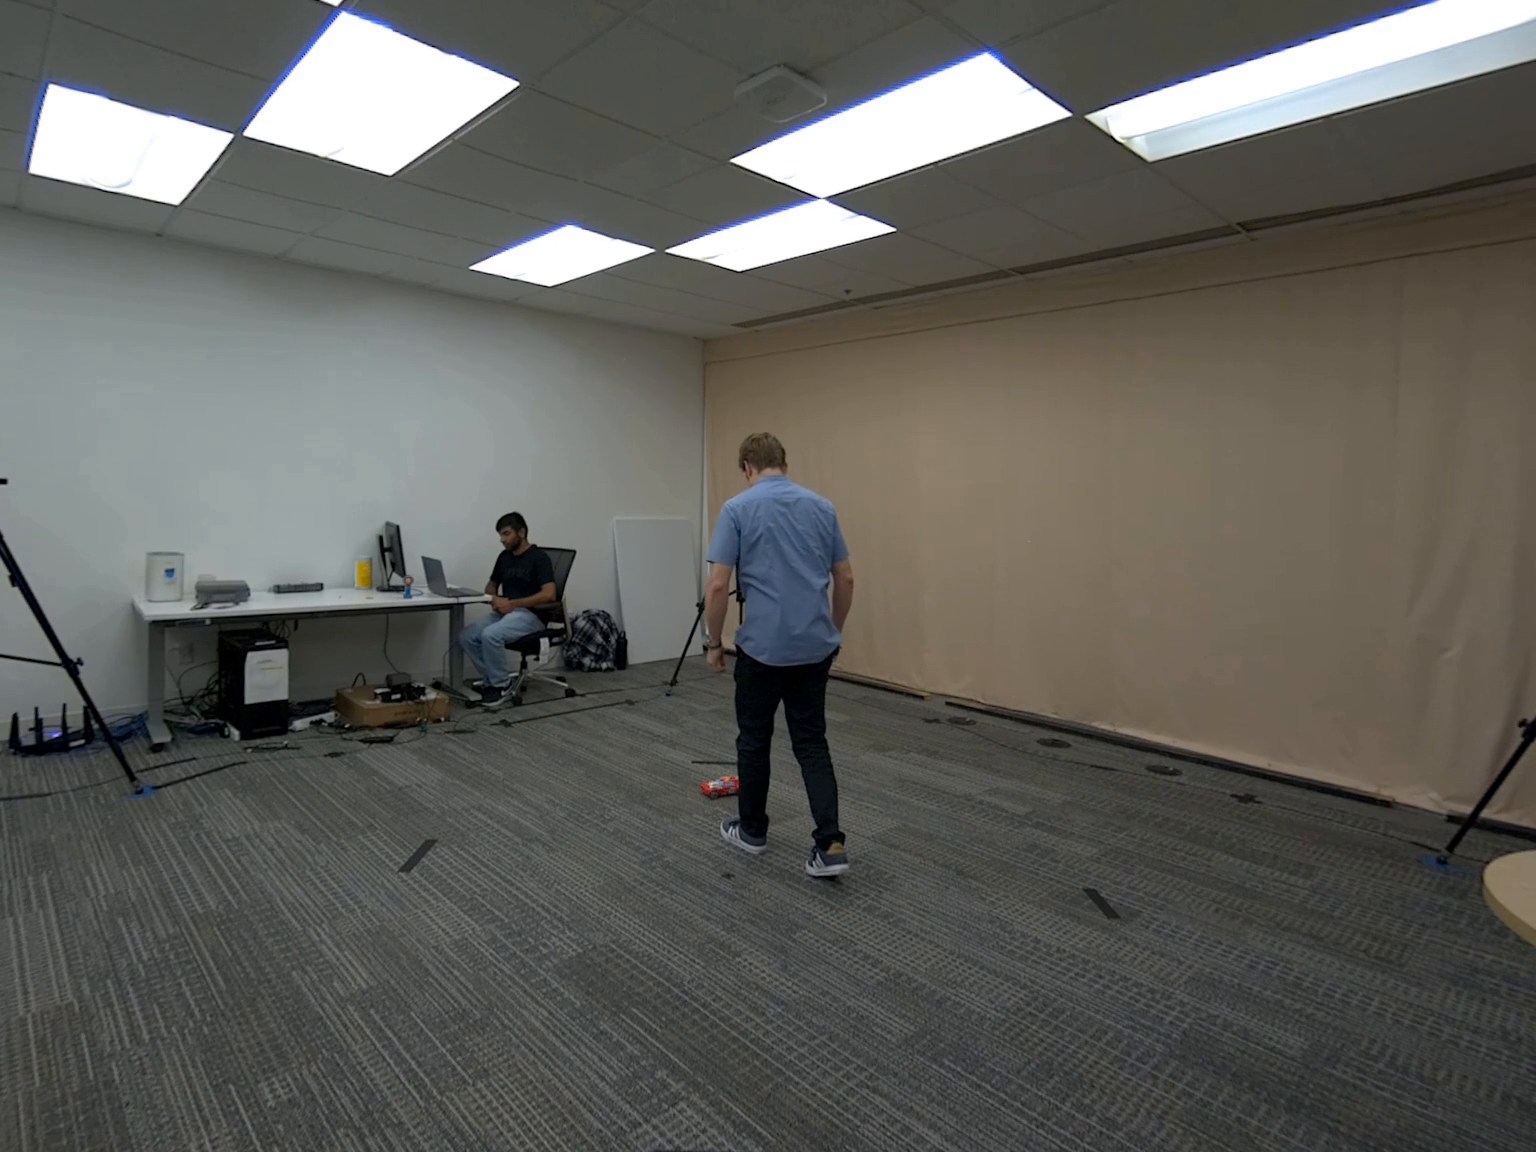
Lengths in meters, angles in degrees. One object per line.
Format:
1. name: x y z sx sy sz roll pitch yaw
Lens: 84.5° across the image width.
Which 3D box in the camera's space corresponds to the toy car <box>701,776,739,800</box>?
1. toy car: -0.200 0.997 3.987 0.251 0.082 0.133 -12 10 -23
